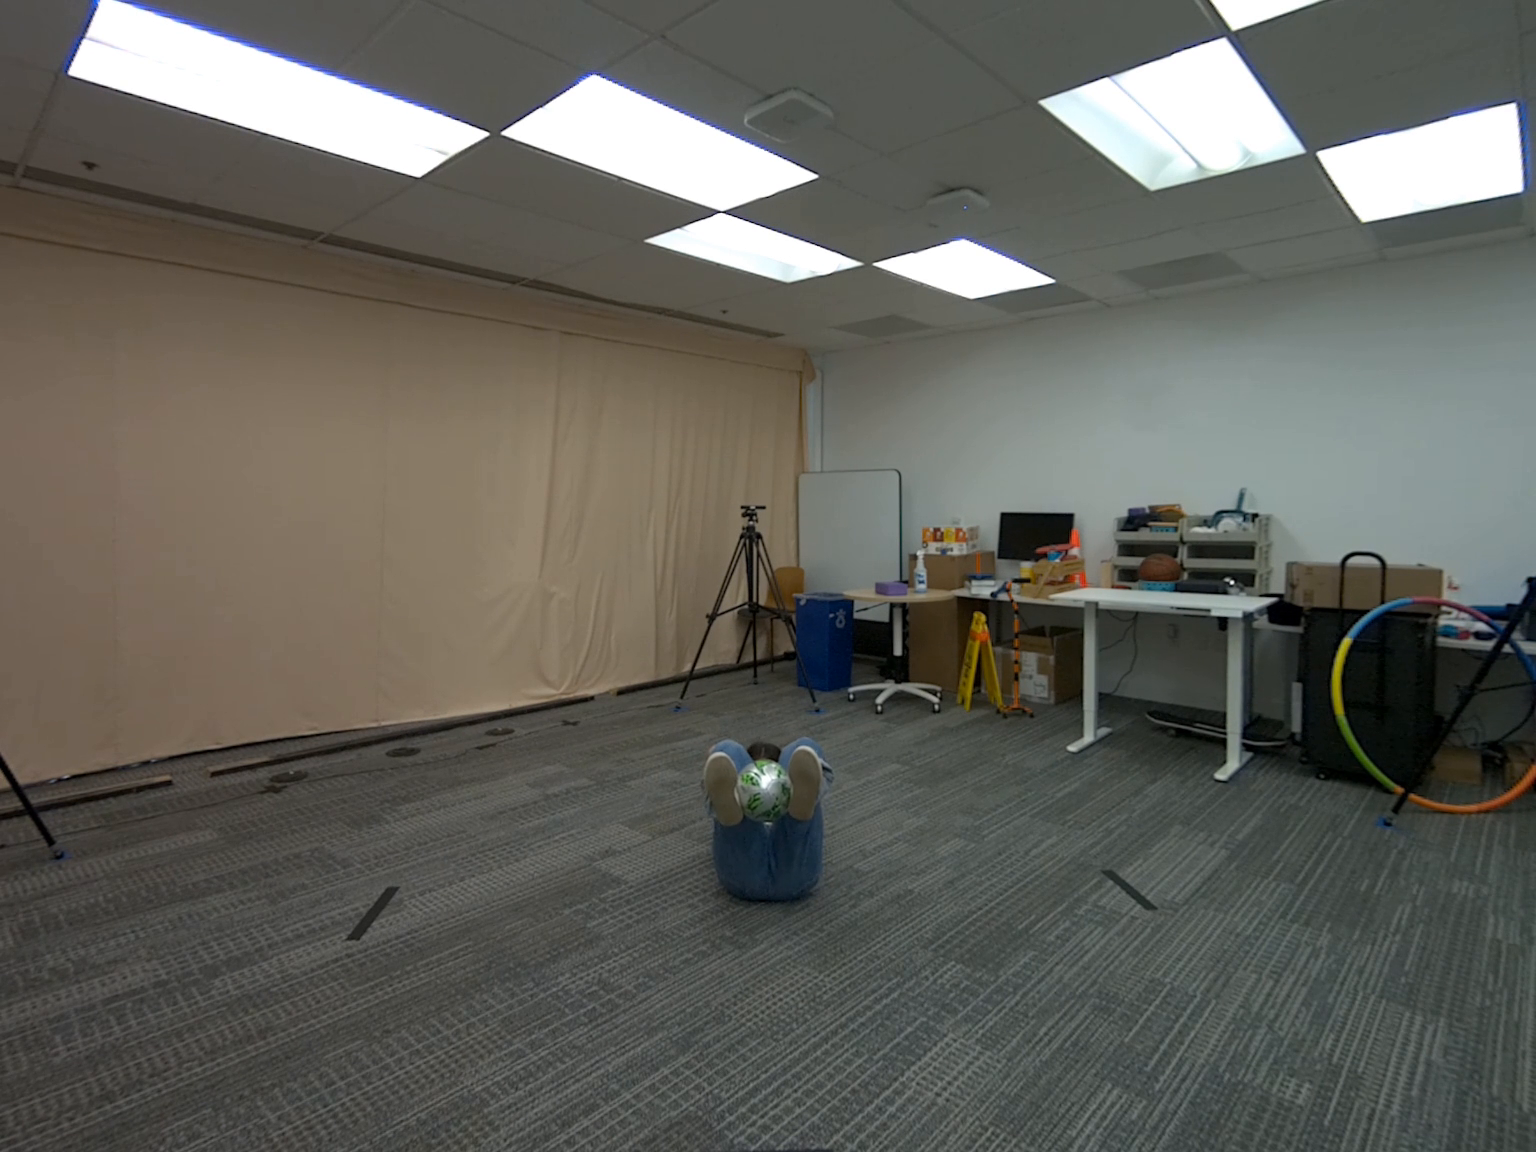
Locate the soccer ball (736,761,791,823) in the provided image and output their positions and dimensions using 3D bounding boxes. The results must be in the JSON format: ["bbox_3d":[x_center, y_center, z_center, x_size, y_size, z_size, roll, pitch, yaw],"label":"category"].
[{"bbox_3d":[0.003,0.673,2.607,0.187,0.187,0.188,3,4,-2],"label":"soccer ball"}]
